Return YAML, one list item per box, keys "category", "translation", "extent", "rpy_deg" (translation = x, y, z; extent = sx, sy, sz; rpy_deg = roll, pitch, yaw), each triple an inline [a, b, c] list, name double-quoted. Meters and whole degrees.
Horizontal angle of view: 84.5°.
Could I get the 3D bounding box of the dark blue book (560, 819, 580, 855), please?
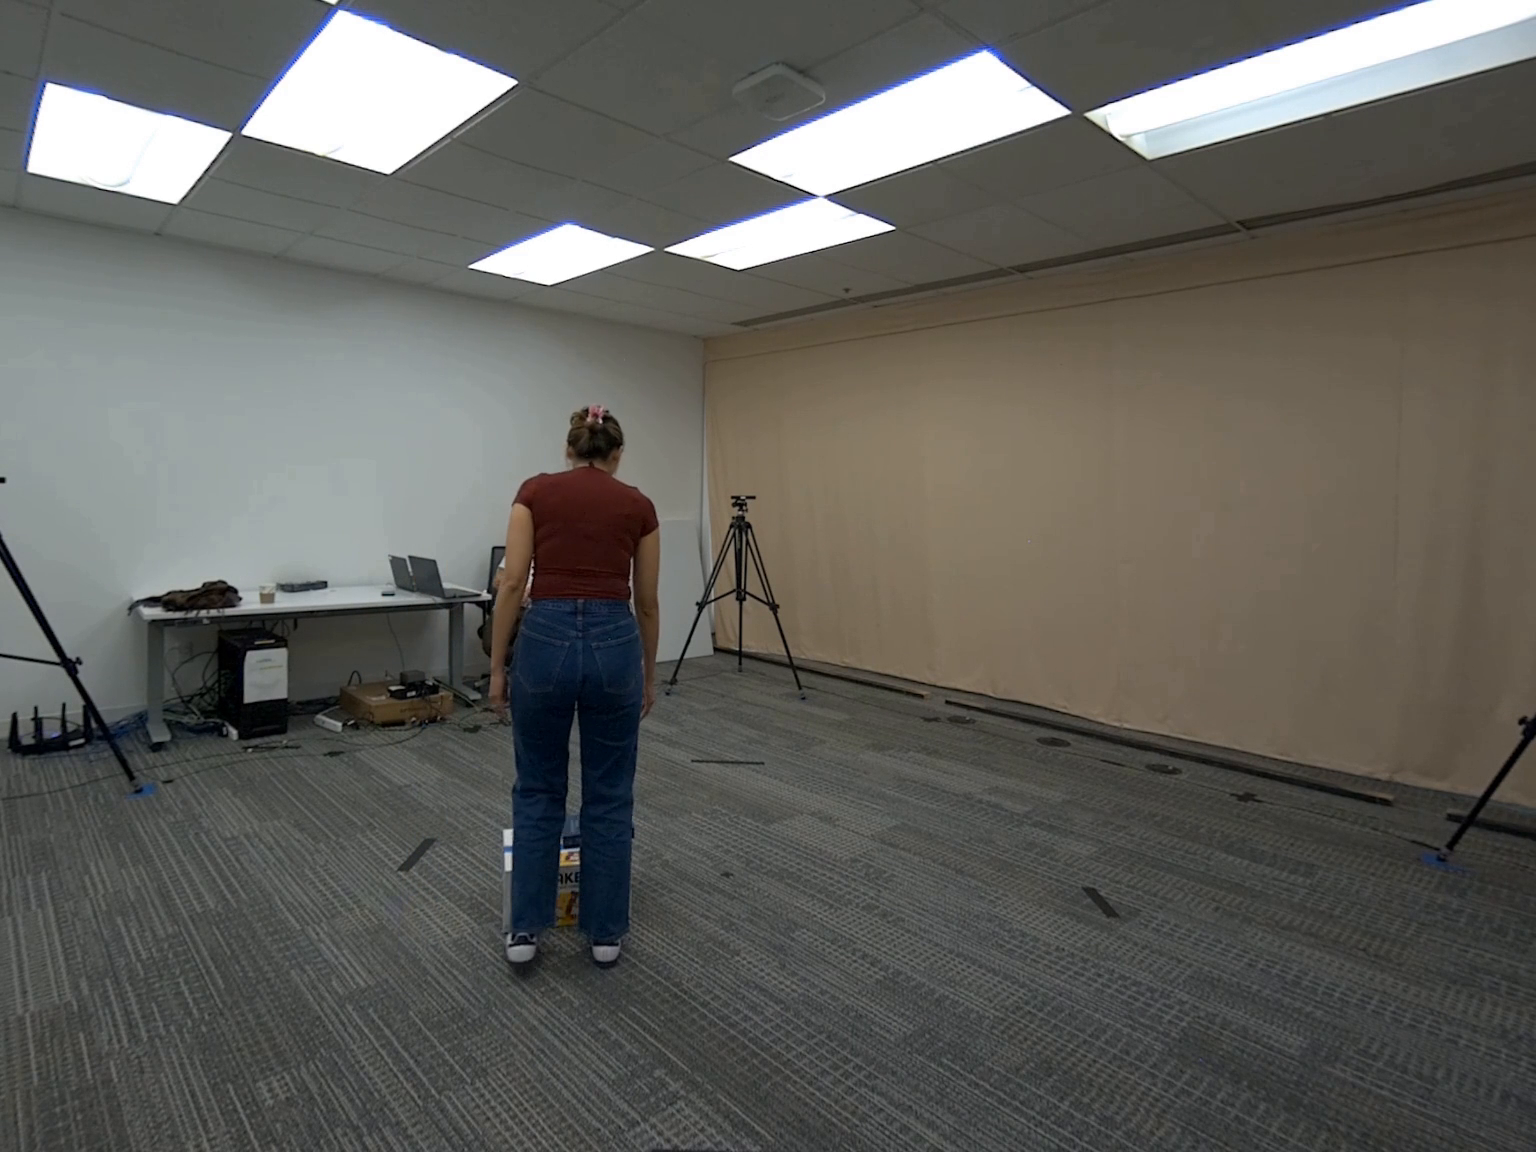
- category: "dark blue book"
  translation: [-0.611, 0.894, 2.941]
  extent: [0.242, 0.045, 0.166]
  rpy_deg: [-3, 8, -16]
